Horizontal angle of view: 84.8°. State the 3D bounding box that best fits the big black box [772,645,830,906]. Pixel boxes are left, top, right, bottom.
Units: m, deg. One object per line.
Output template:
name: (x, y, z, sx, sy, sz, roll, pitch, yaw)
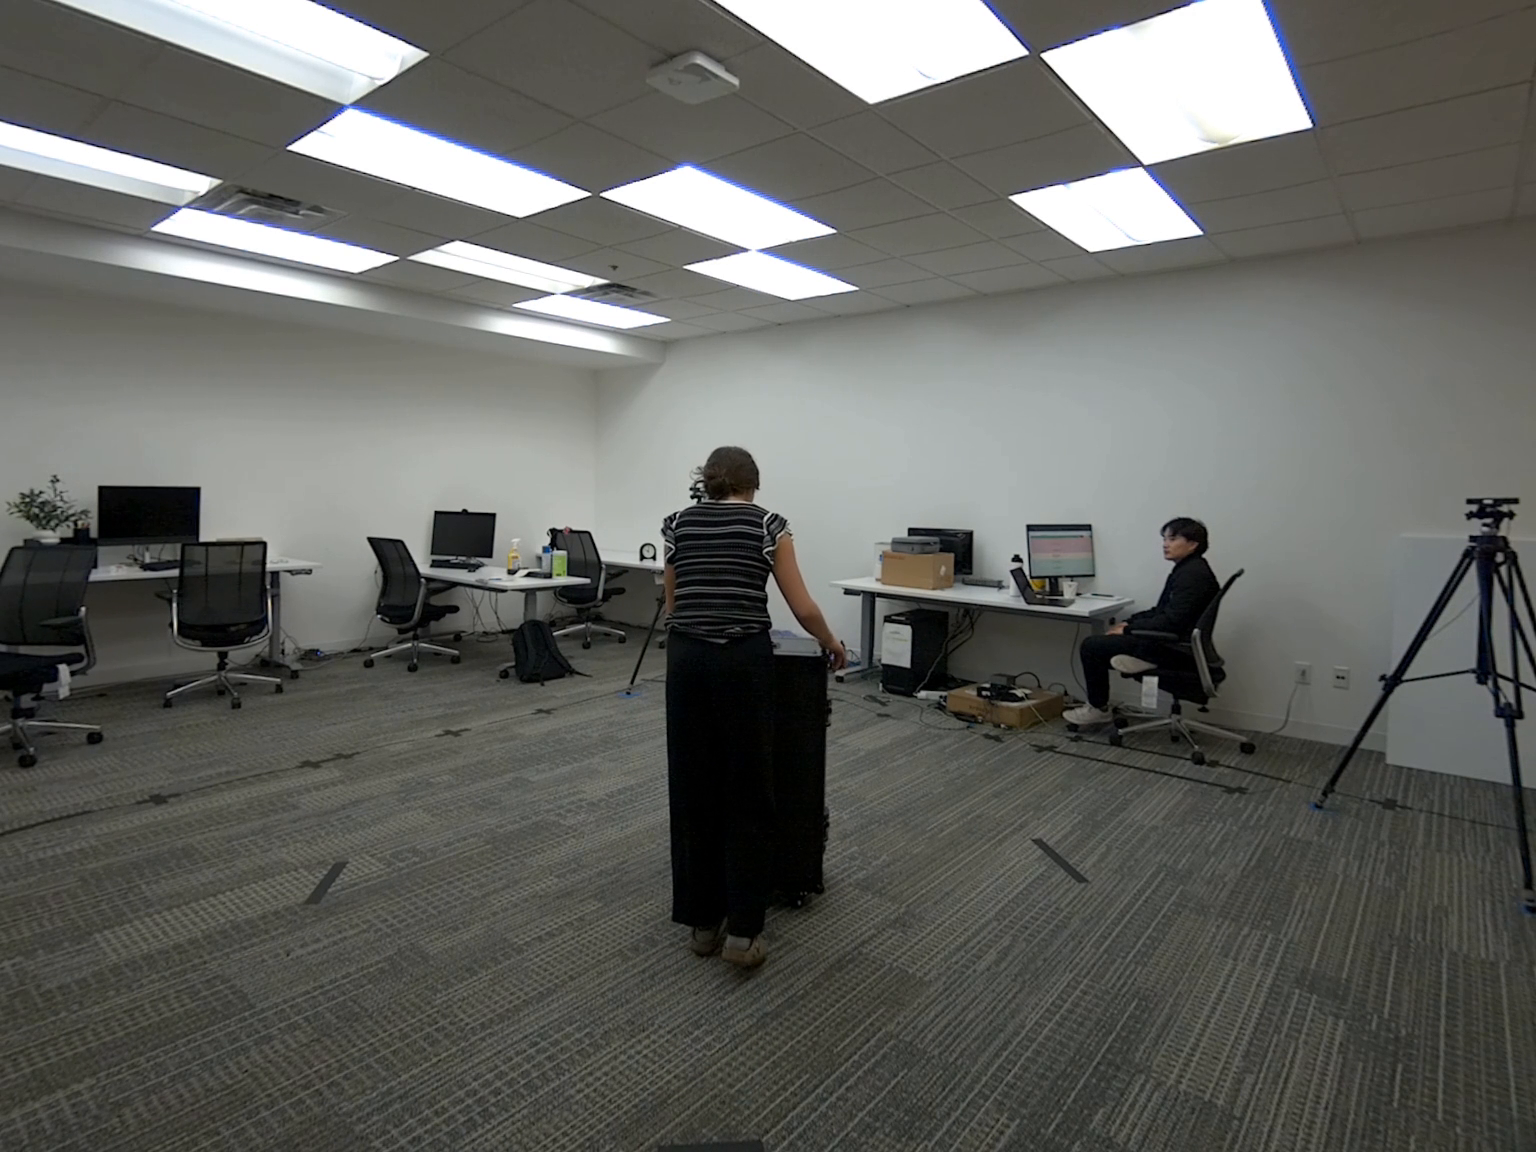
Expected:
big black box: (-0.057, 0.658, 2.980, 0.525, 0.860, 0.394, 1, 2, 6)
